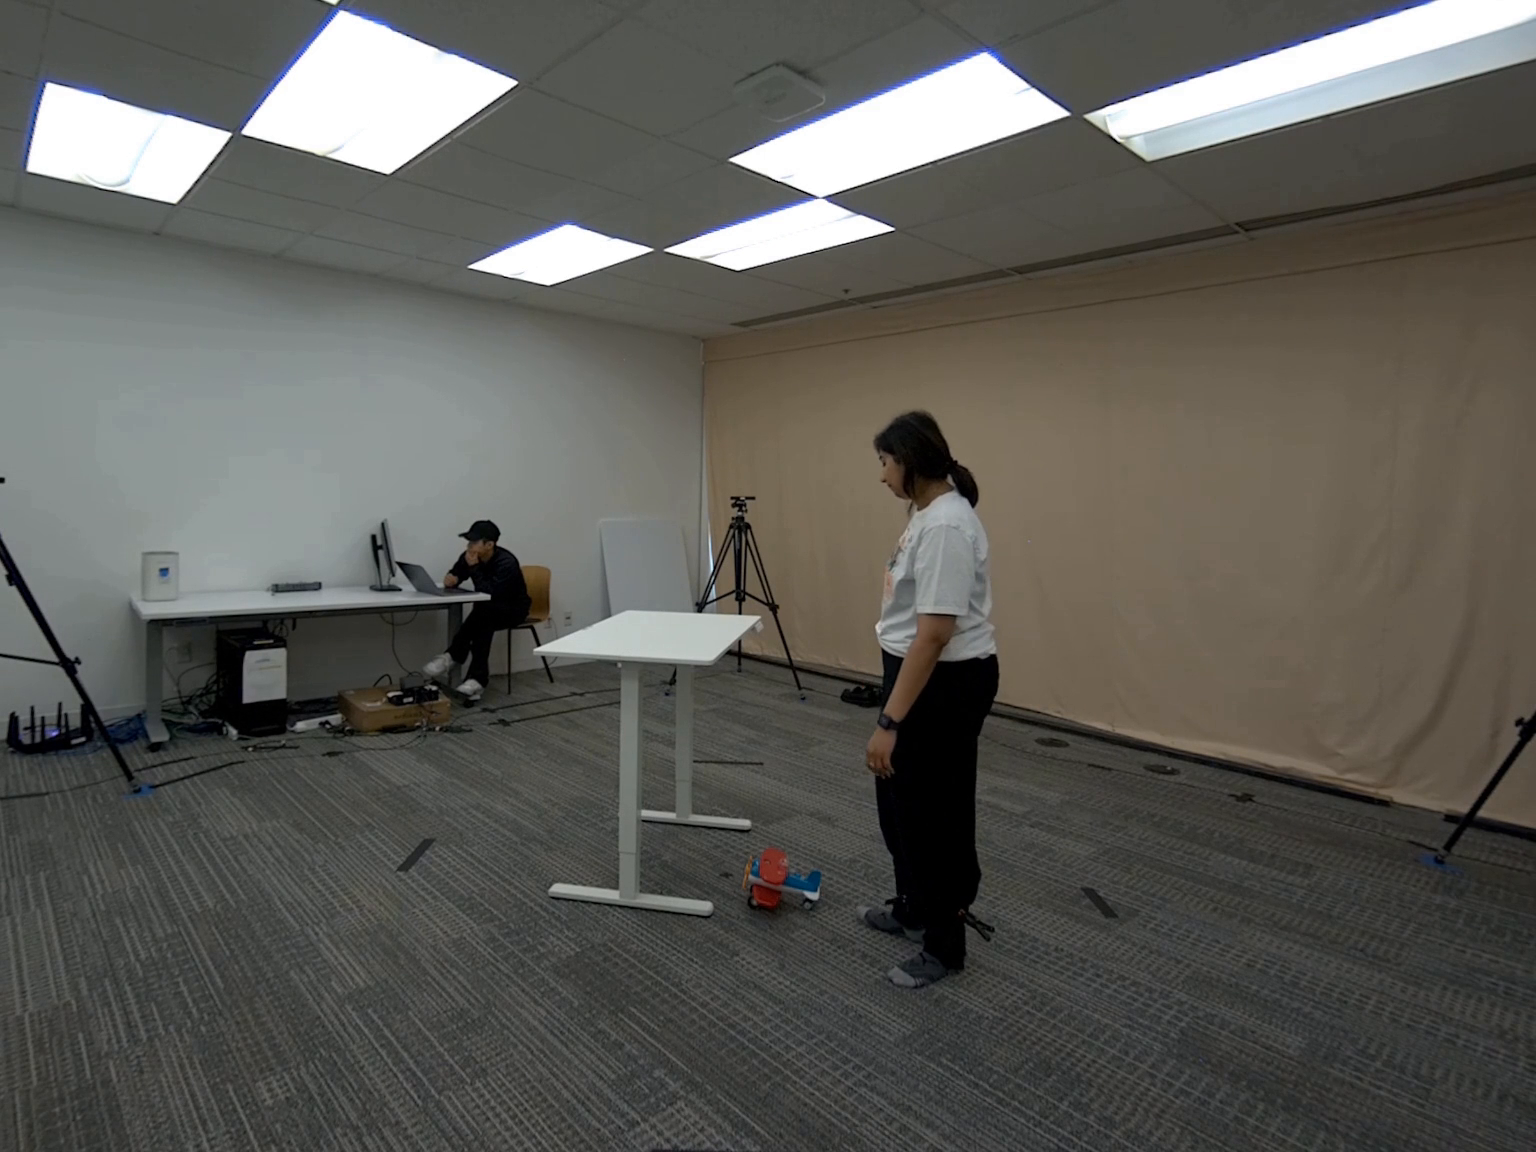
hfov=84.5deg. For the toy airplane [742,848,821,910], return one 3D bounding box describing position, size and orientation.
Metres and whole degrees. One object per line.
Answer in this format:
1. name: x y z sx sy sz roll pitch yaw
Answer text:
1. toy airplane: 0.040 1.051 2.904 0.255 0.156 0.256 -1 6 -25
